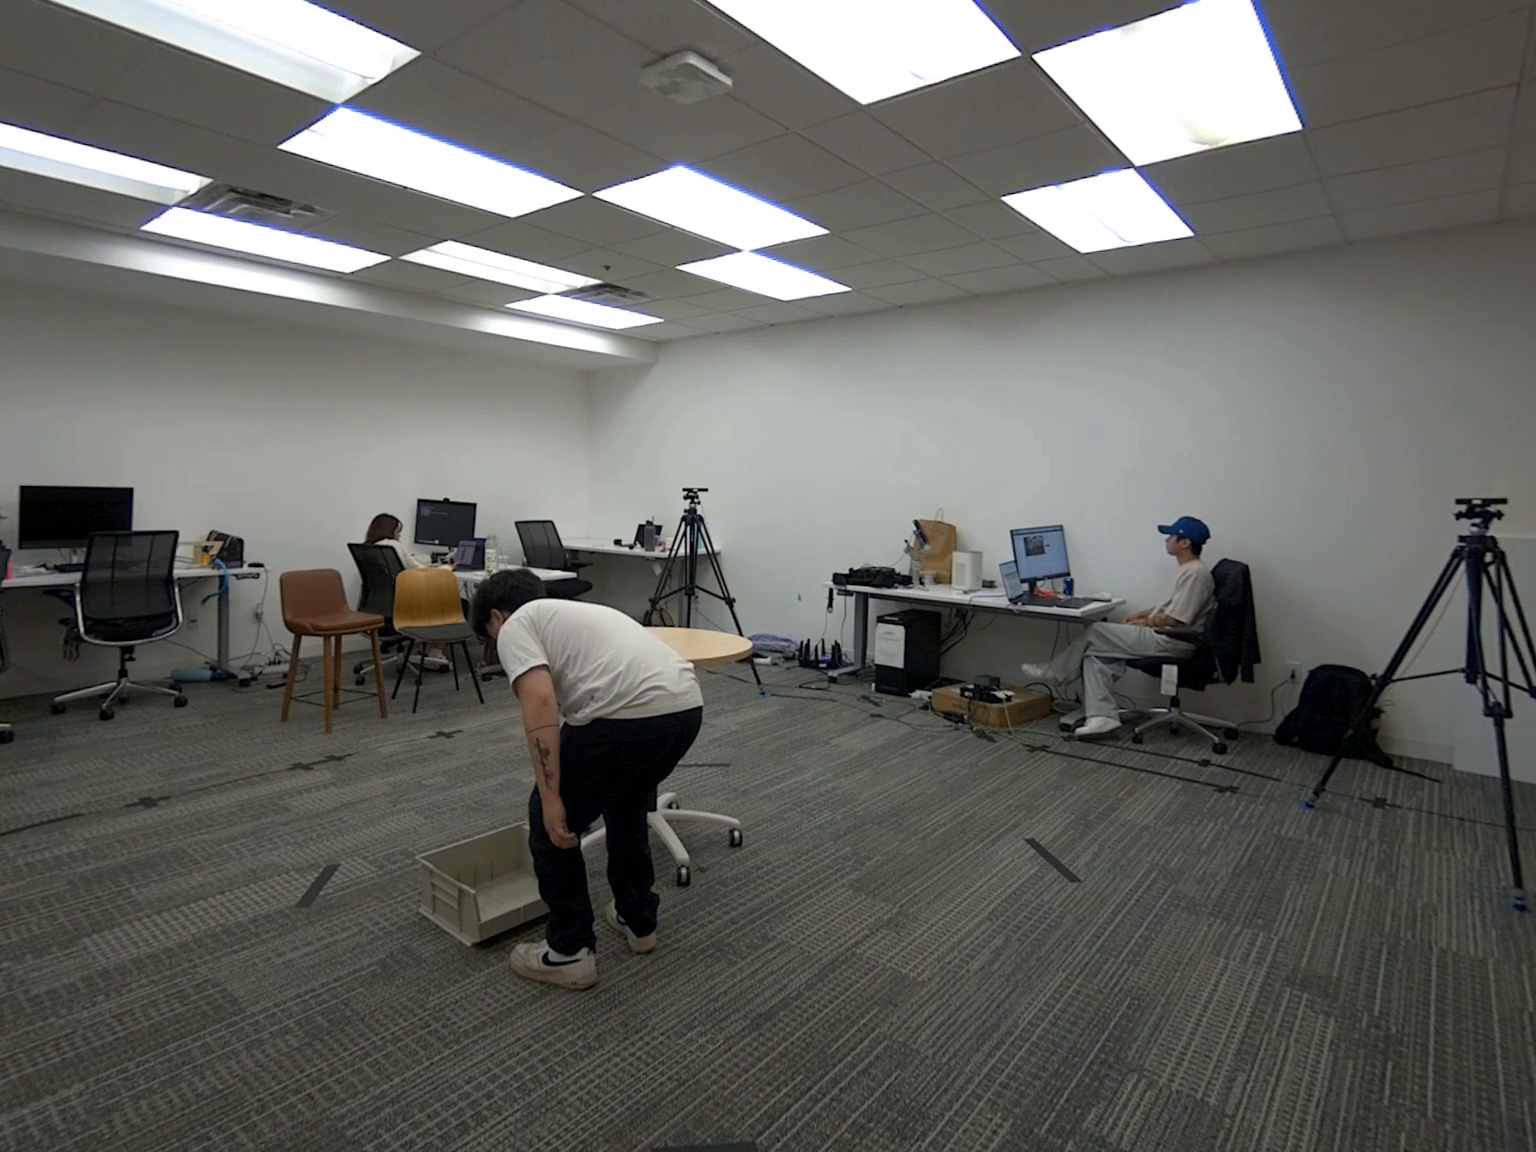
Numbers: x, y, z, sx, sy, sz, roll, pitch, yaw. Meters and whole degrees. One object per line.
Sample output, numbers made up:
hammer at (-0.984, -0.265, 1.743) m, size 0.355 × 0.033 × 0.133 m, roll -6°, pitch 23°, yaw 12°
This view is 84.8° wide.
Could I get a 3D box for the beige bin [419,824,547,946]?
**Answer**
beige bin at (-0.882, 1.001, 2.792) m, size 0.390 × 0.188 × 0.410 m, roll 4°, pitch 6°, yaw 41°
